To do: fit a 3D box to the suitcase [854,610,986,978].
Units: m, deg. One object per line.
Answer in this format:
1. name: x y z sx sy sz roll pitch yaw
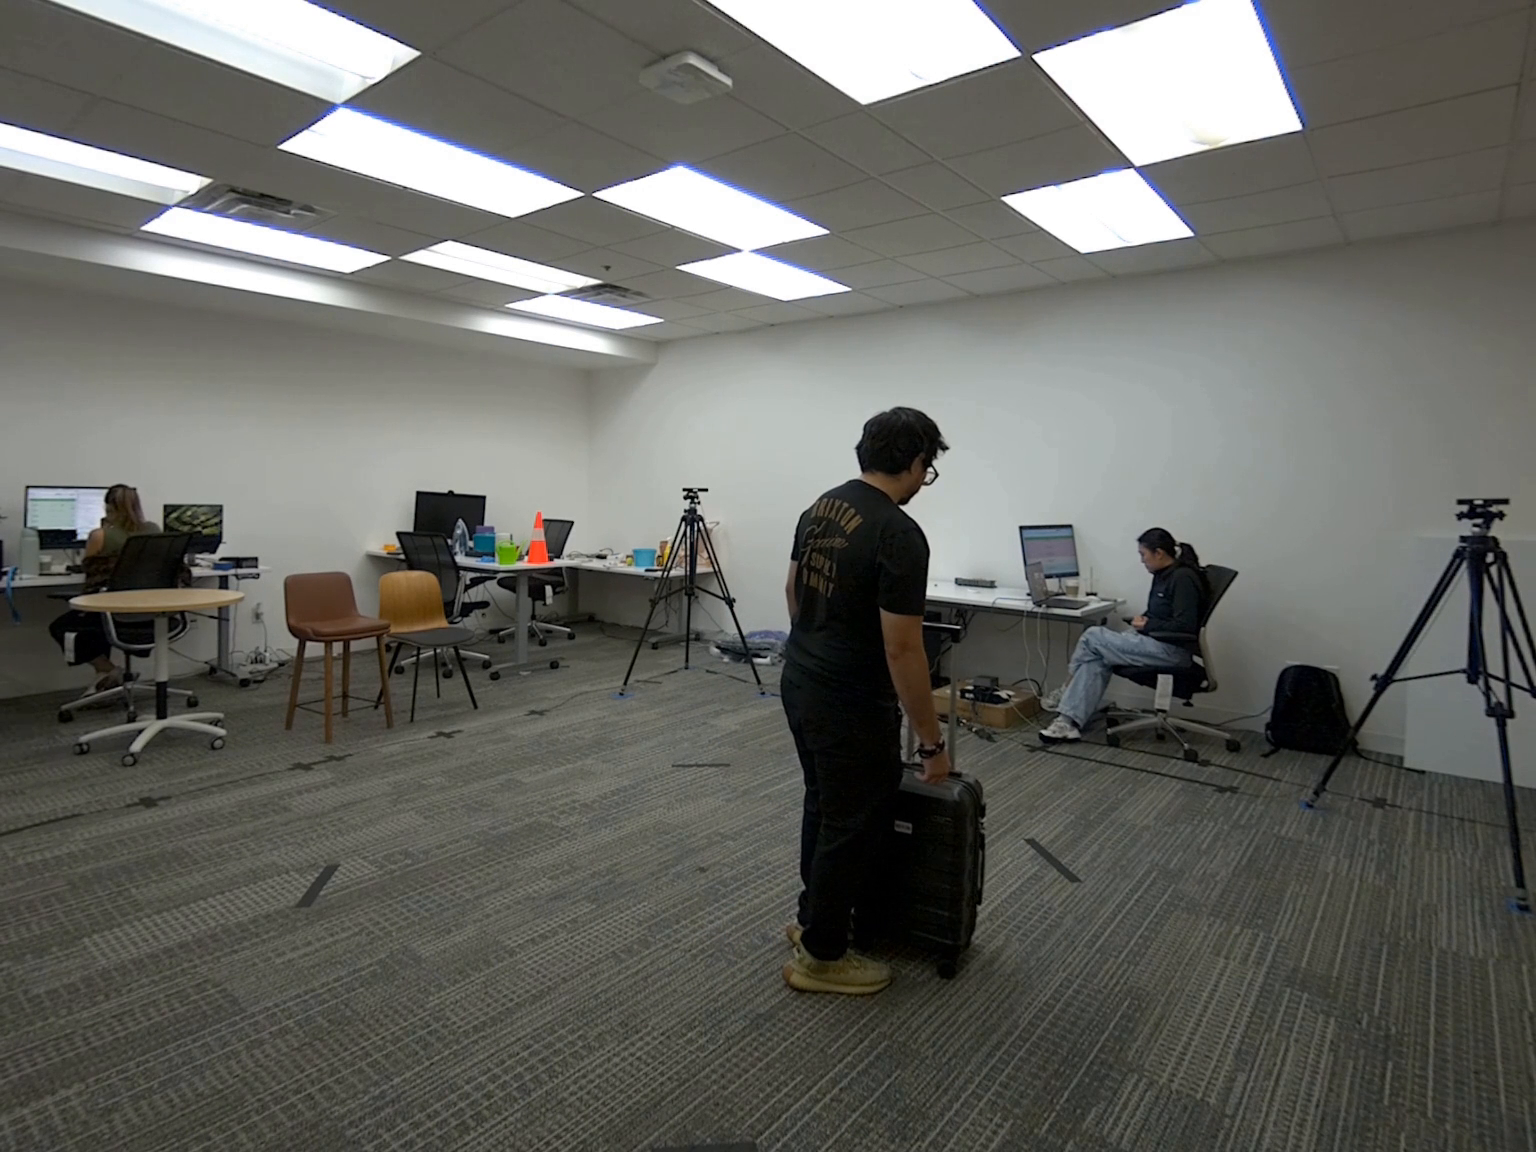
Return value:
1. suitcase: 0.463 0.652 2.590 0.394 0.975 0.251 3 5 27
